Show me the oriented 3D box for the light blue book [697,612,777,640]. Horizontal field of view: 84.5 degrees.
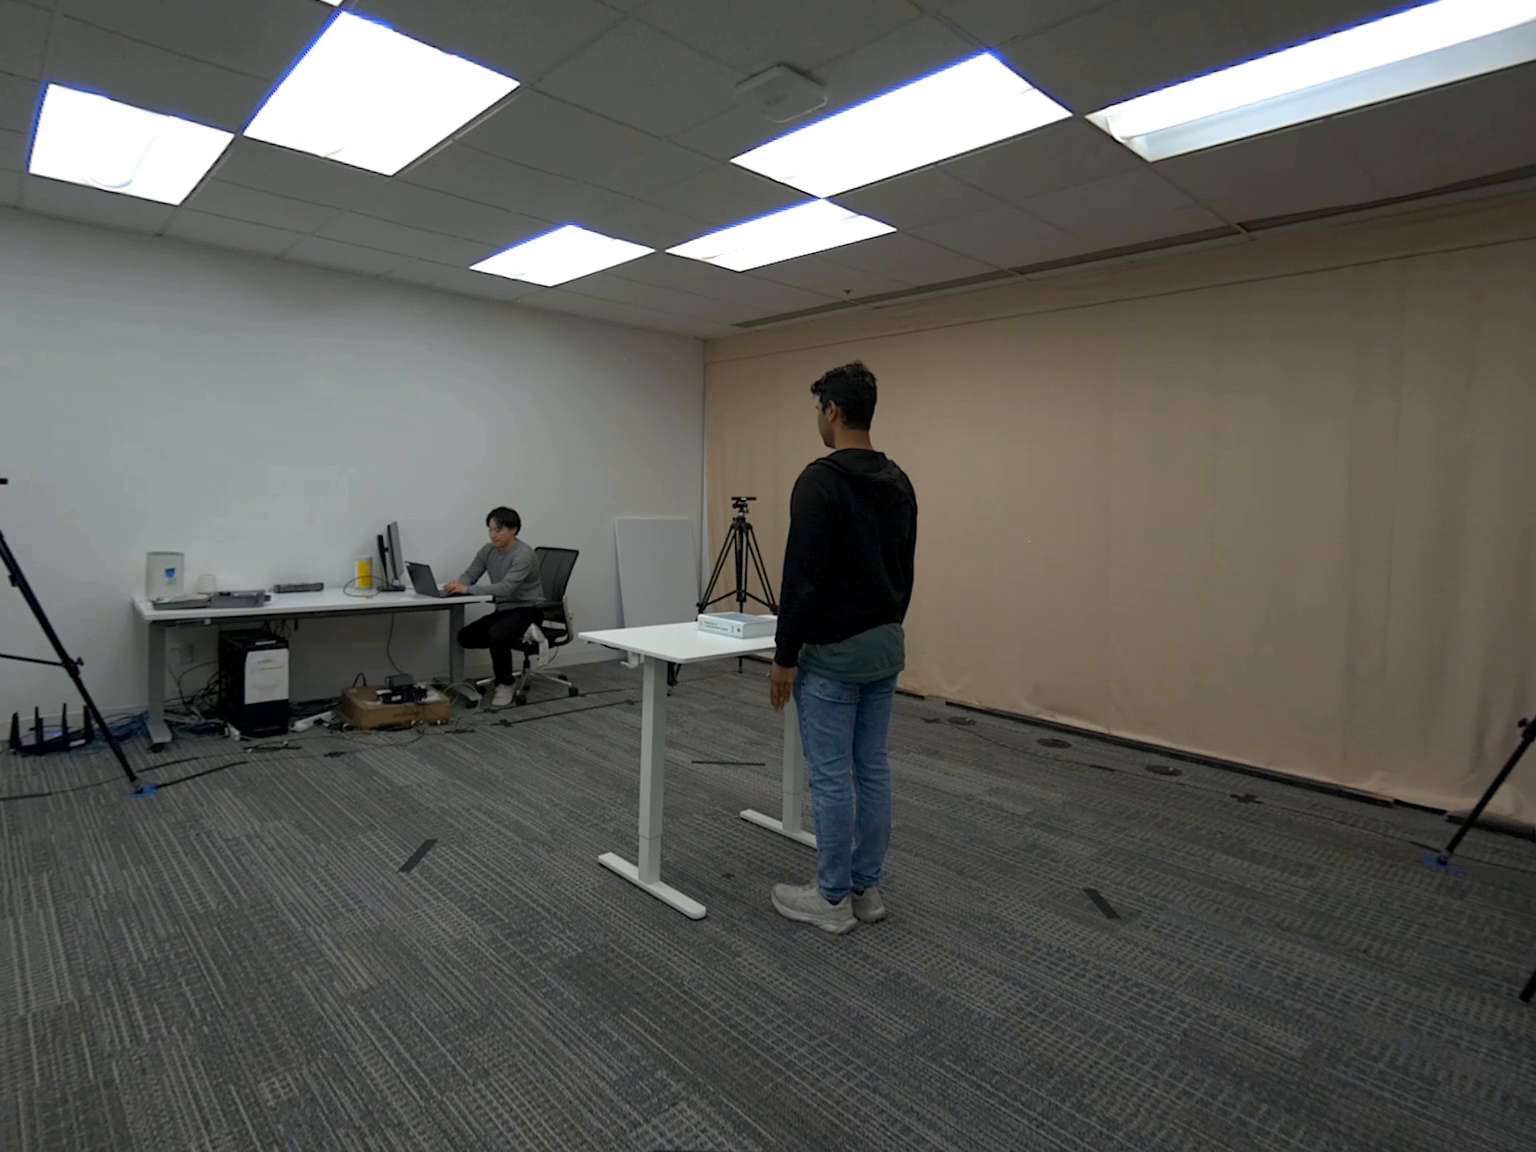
[{"bbox_3d":[-0.118,0.188,3.224,0.187,0.059,0.268,-4,7,-44],"label":"light blue book"}]
